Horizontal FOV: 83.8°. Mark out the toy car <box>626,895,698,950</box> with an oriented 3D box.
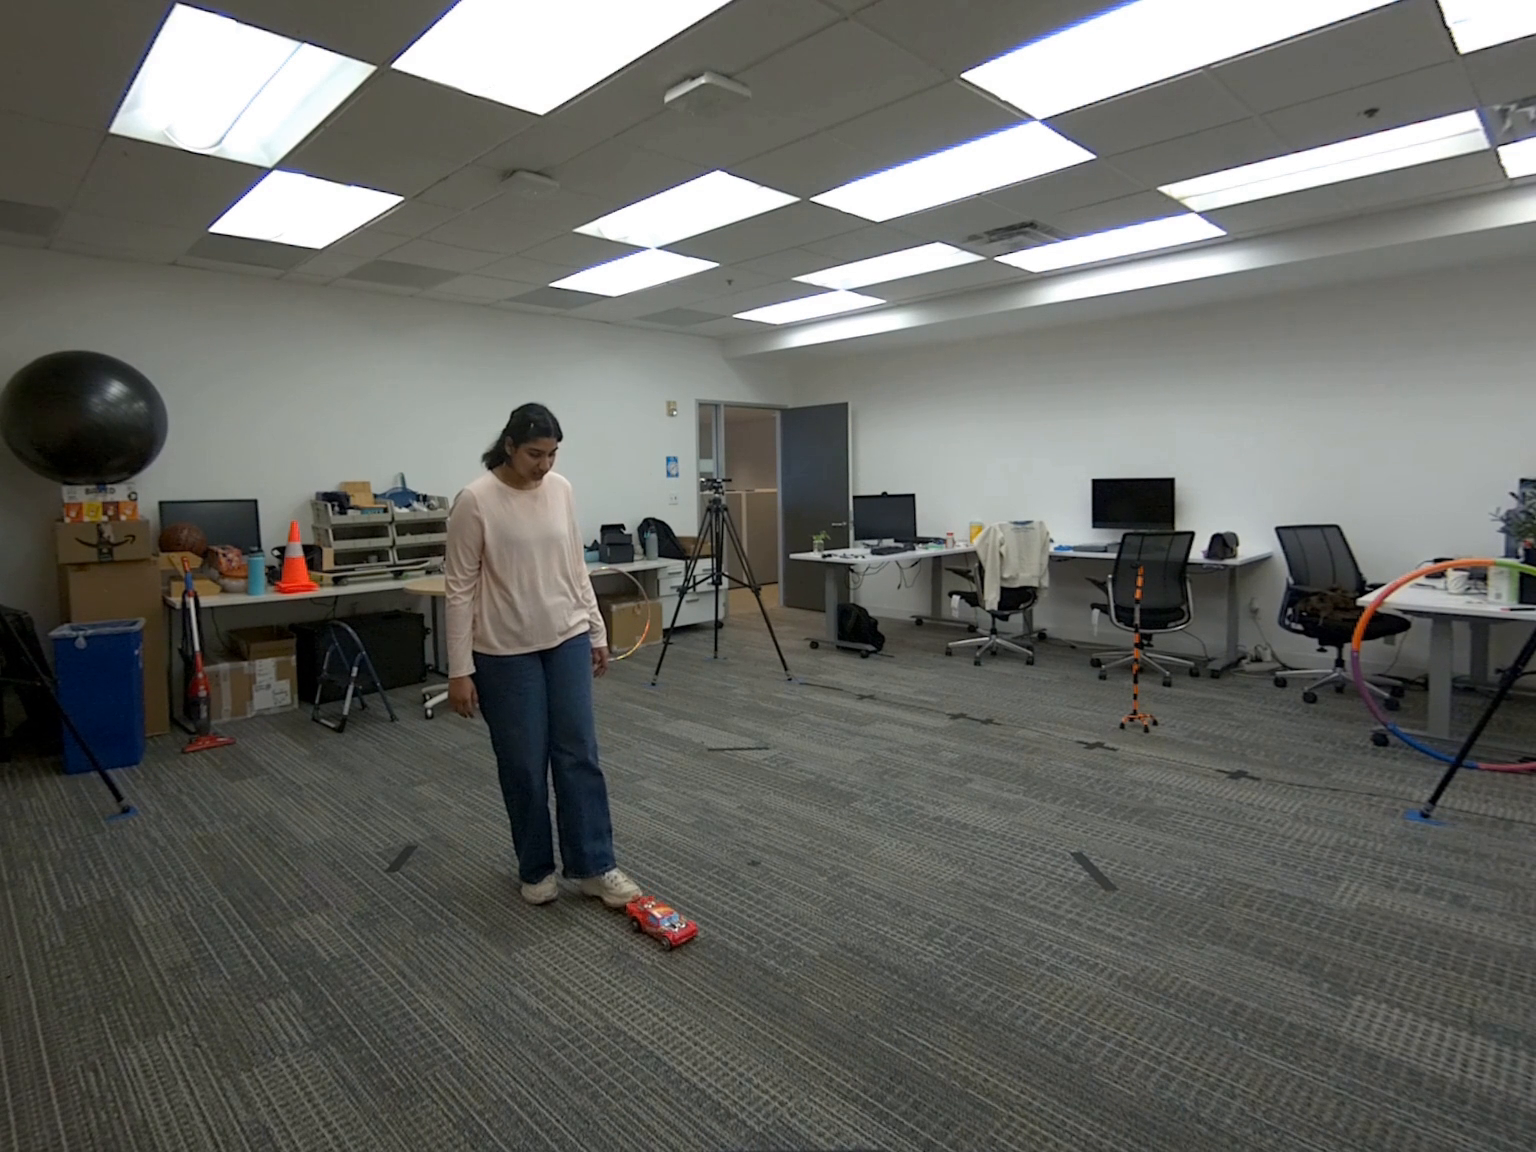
[{"bbox_3d":[-0.332,1.070,2.648,0.127,0.082,0.264,-8,20,-43],"label":"toy car"}]
